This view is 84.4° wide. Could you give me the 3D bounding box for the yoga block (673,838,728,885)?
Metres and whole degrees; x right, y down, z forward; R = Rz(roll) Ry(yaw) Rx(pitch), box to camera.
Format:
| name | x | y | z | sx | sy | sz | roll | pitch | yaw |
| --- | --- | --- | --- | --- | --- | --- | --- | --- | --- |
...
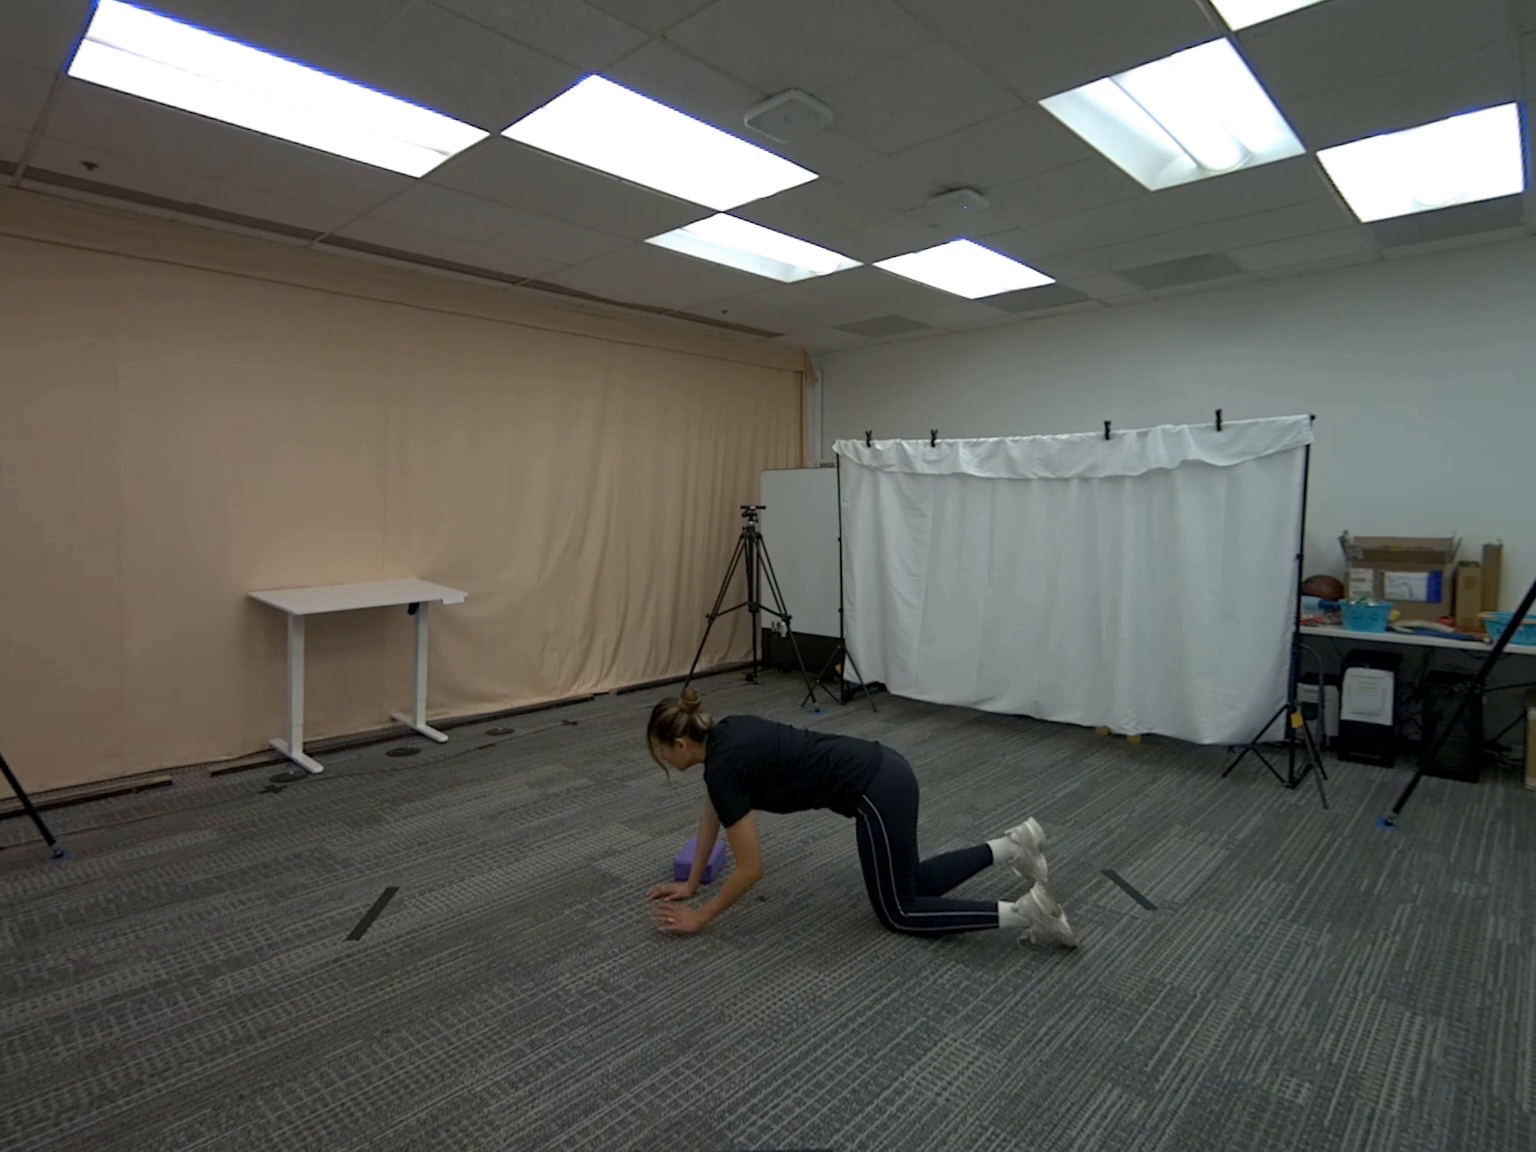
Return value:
| name | x | y | z | sx | sy | sz | roll | pitch | yaw |
| --- | --- | --- | --- | --- | --- | --- | --- | --- | --- |
| yoga block | -0.256 | 1.087 | 3.220 | 0.151 | 0.076 | 0.227 | 1 | 6 | 13 |
